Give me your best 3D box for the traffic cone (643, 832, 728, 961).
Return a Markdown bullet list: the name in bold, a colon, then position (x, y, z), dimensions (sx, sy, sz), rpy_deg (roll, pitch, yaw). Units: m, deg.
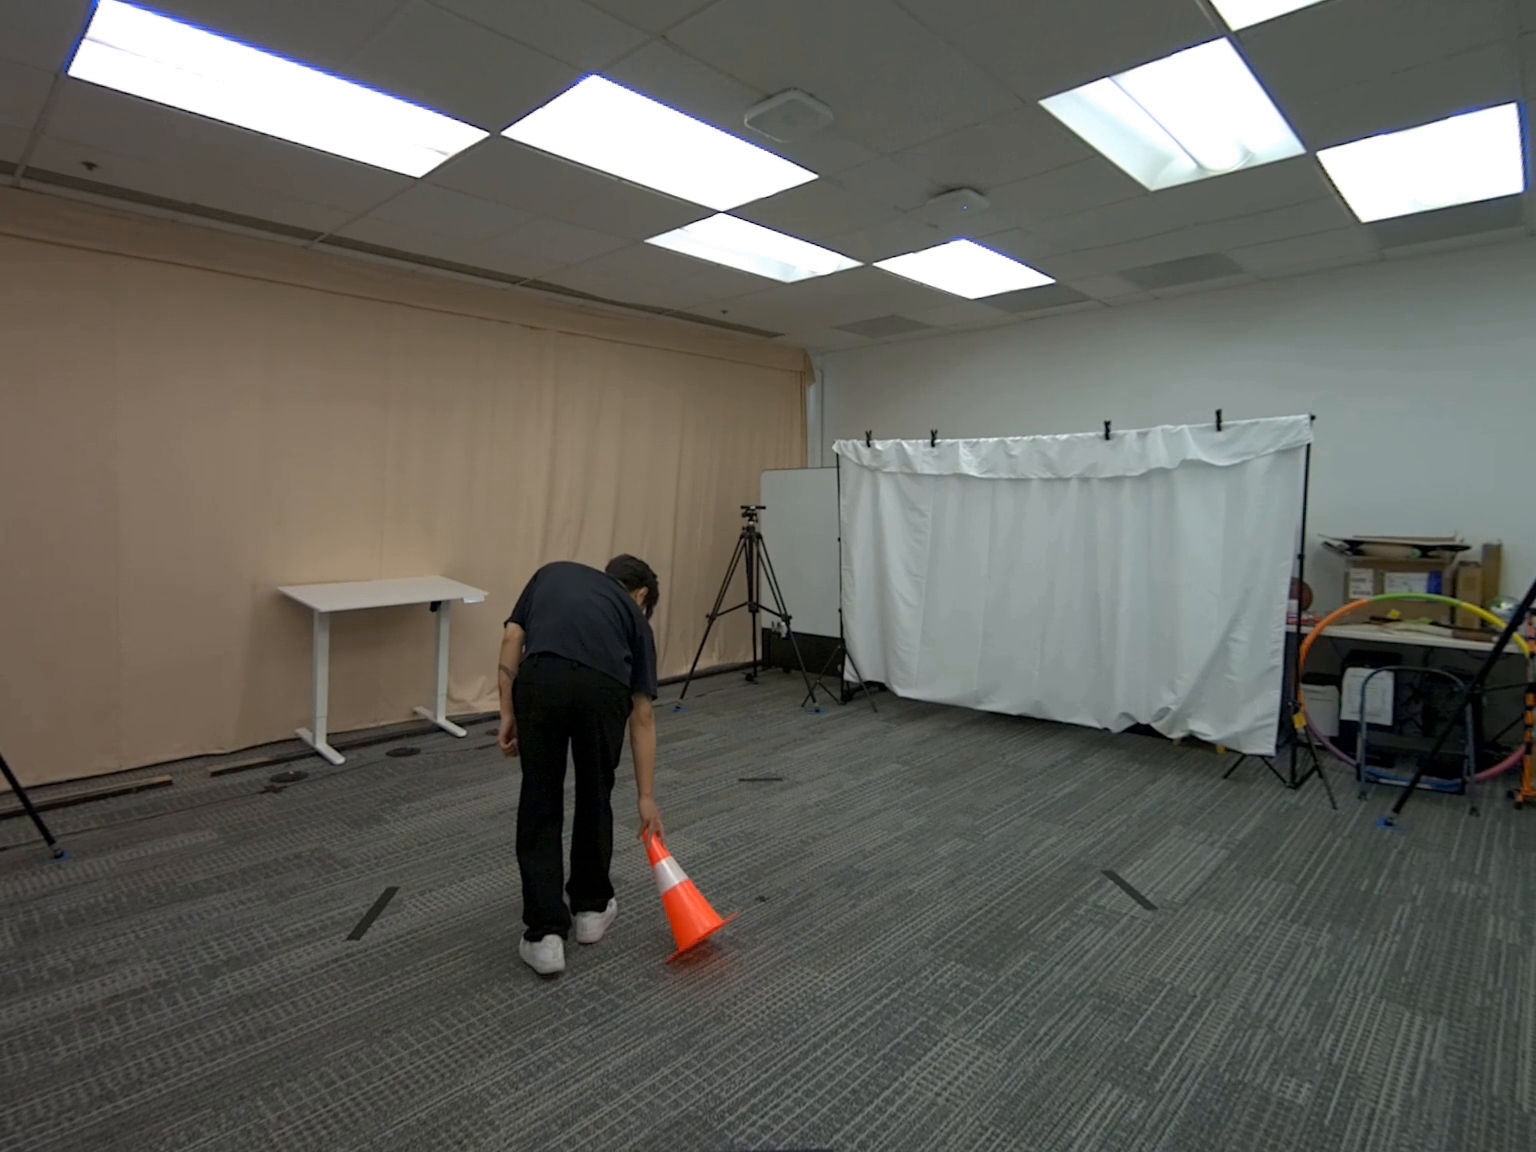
- **traffic cone**: position (-0.300, 0.972, 2.650), dimensions (0.198, 0.392, 0.206), rpy_deg (-12, -29, -48)
